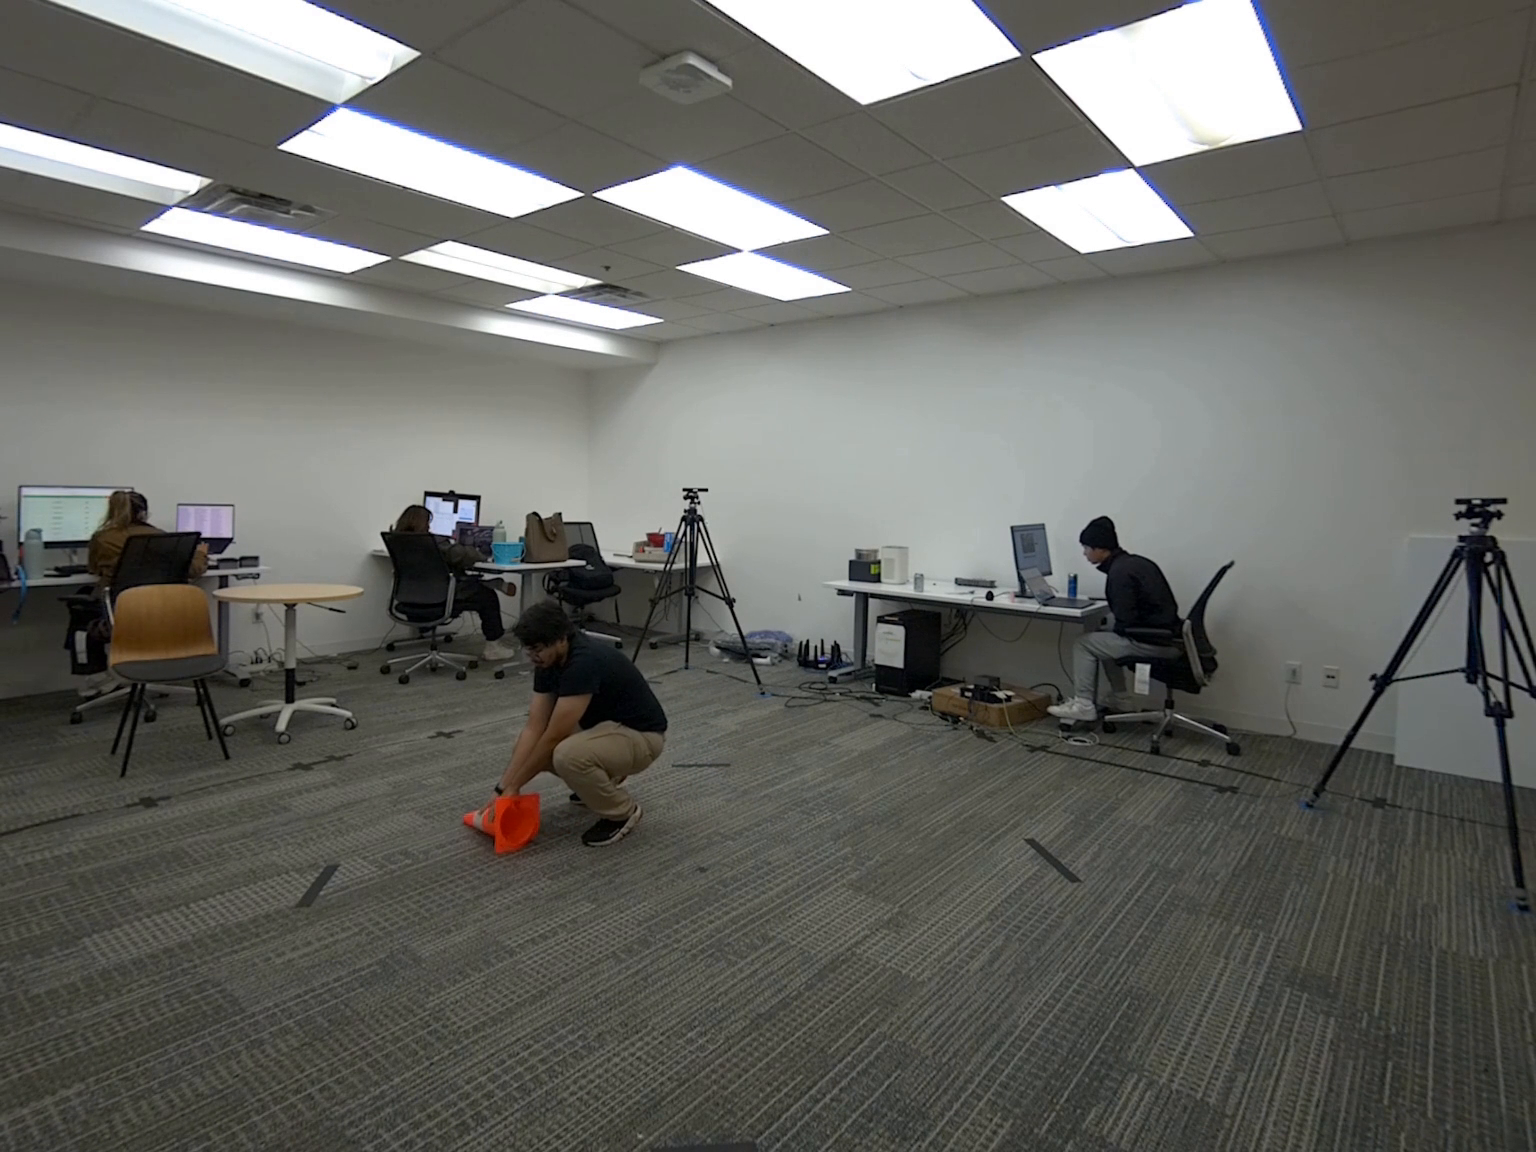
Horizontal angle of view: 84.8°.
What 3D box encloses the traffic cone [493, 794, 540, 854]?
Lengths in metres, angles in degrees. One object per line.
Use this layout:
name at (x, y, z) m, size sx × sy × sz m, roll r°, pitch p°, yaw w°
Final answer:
traffic cone at (-1.131, 0.975, 3.400) m, size 0.393 × 0.206 × 0.197 m, roll -10°, pitch -19°, yaw 40°
